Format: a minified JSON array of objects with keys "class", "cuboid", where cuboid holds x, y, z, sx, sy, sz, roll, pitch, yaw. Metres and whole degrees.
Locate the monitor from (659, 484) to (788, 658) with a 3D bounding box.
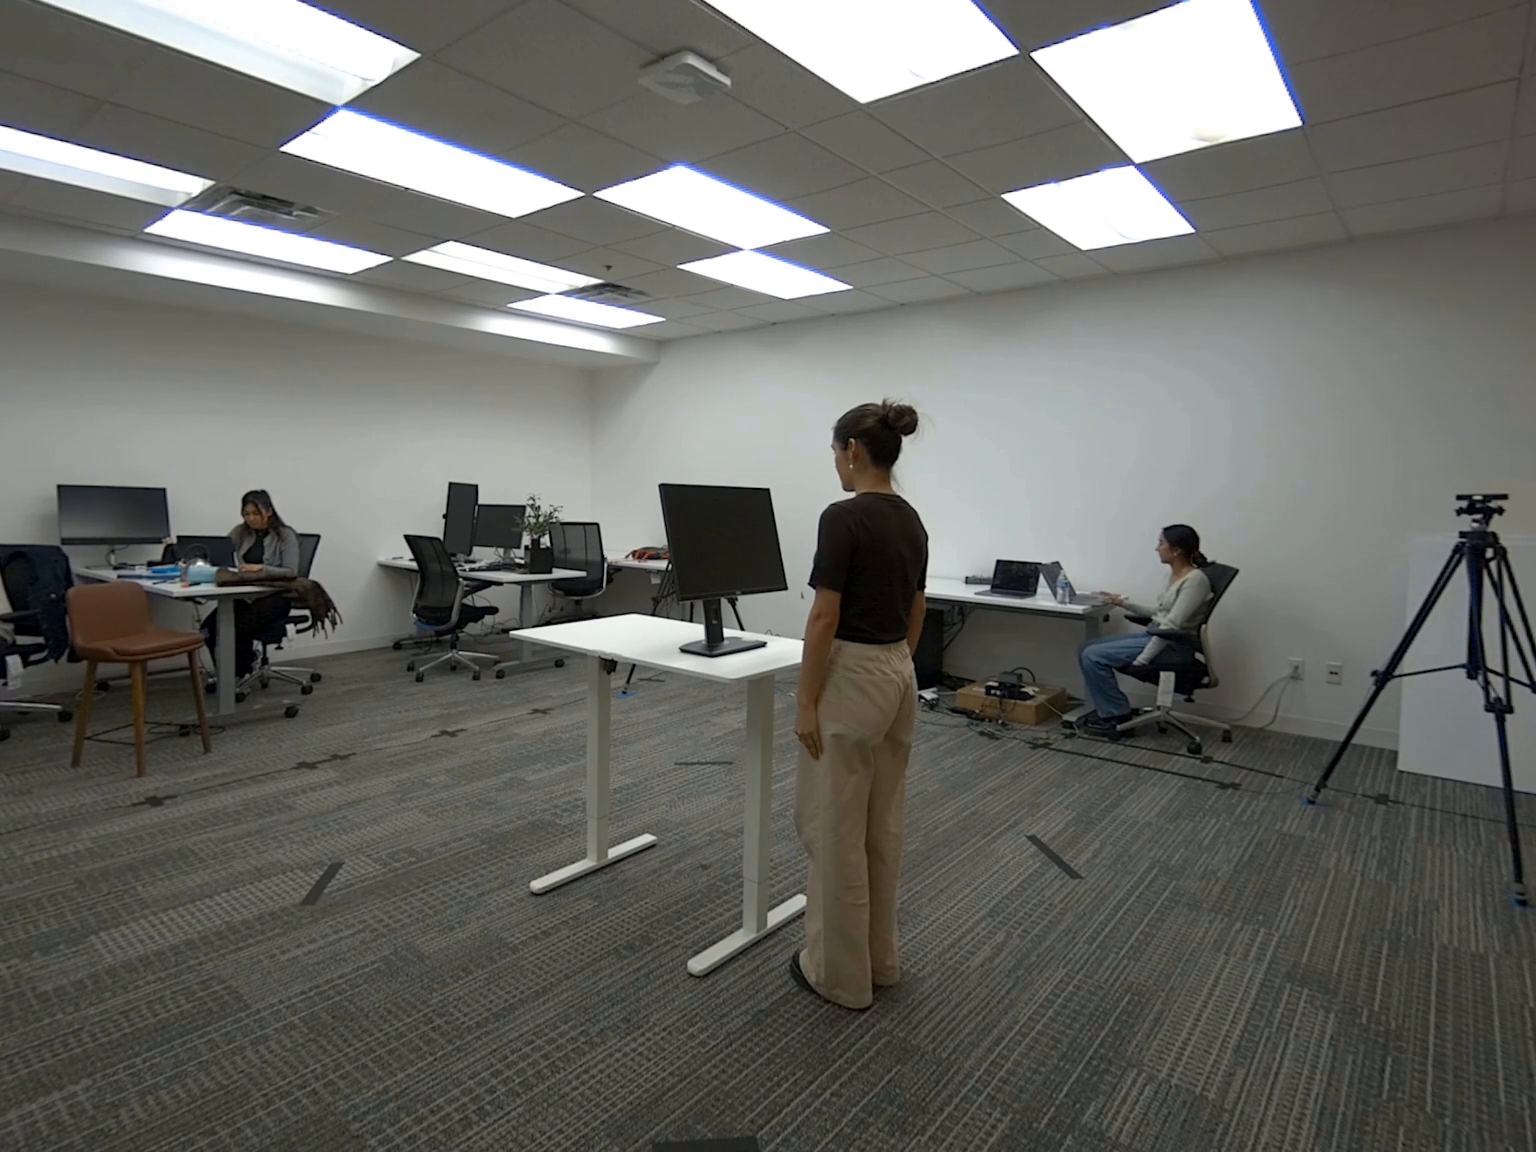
[{"class":"monitor","cuboid":[-0.160,-0.024,2.686,0.193,0.522,0.523,0,2,36]}]
